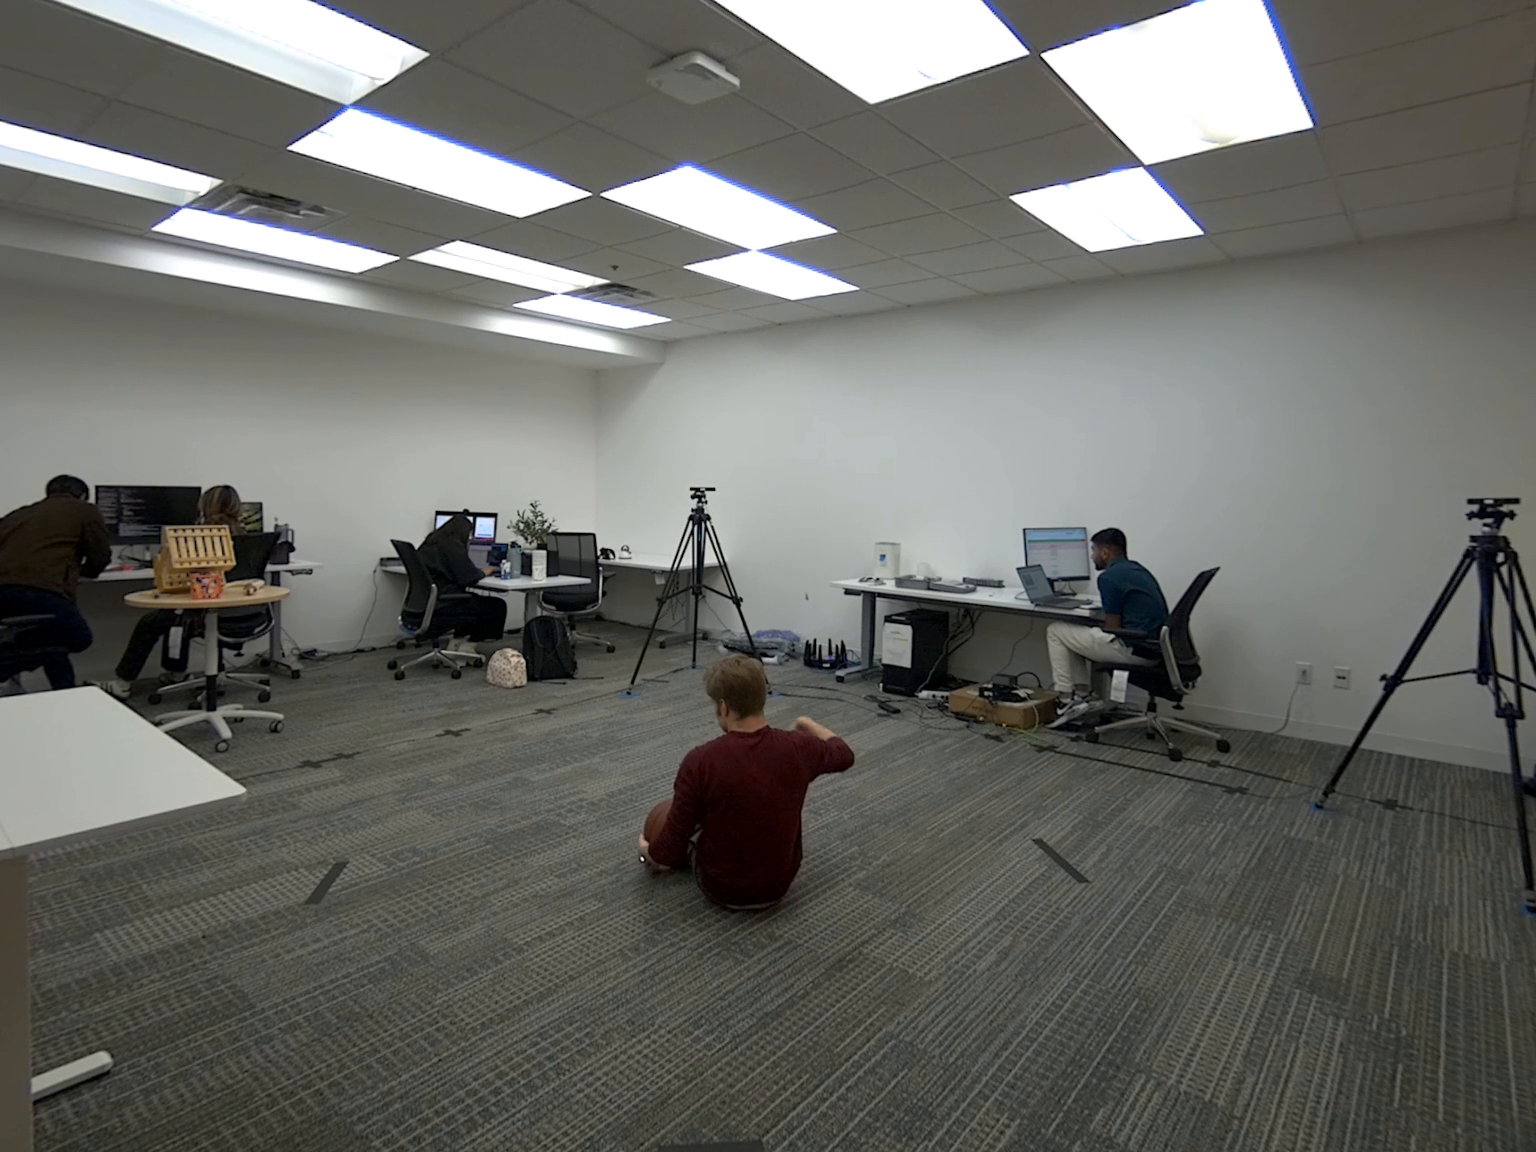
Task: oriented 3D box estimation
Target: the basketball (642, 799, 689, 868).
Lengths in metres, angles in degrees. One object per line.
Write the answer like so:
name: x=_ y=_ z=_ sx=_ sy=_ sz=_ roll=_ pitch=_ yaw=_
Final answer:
basketball: x=-0.342 y=0.943 z=3.135 sx=0.235 sy=0.235 sz=0.237 roll=1 pitch=4 yaw=-2
